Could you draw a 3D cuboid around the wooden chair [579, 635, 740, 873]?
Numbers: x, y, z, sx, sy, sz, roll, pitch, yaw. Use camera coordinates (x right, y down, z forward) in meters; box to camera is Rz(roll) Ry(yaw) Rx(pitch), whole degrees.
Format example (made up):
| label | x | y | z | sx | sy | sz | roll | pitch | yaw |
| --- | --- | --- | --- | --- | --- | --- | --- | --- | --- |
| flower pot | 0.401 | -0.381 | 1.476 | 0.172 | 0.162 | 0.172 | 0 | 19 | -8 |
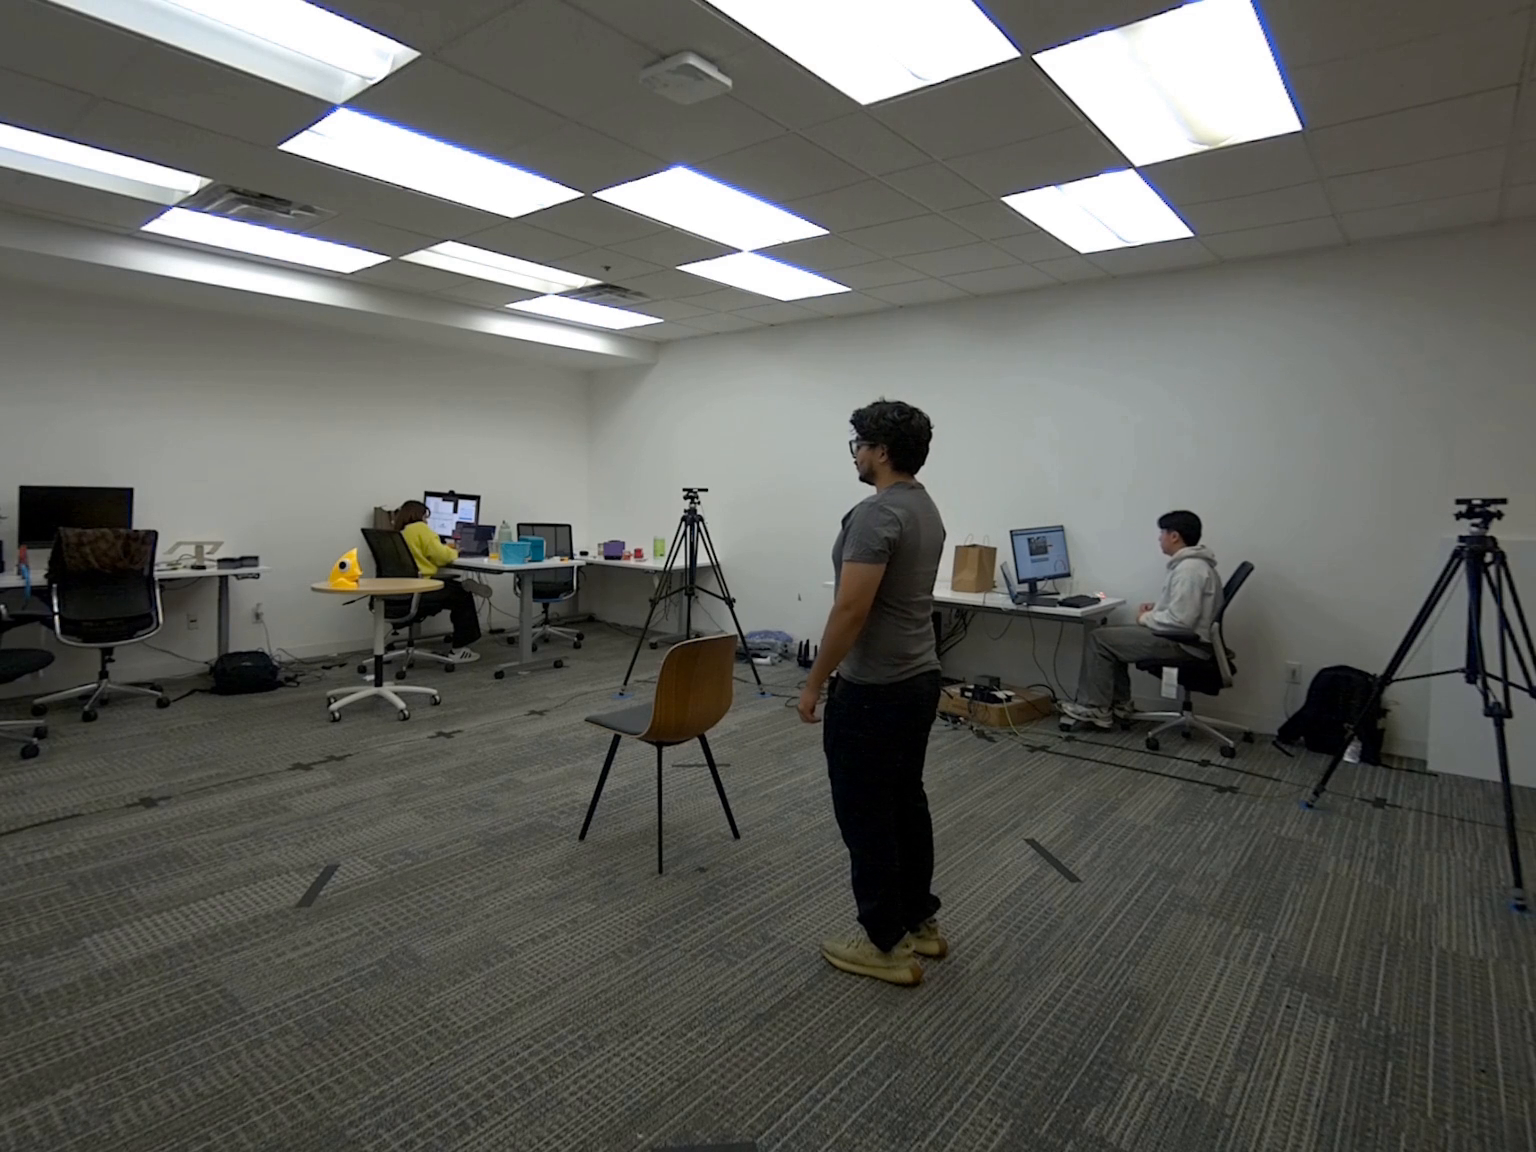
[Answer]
| label | x | y | z | sx | sy | sz | roll | pitch | yaw |
| --- | --- | --- | --- | --- | --- | --- | --- | --- | --- |
| wooden chair | -0.436 | 0.617 | 3.352 | 0.542 | 0.873 | 0.464 | 9 | 7 | 39 |
